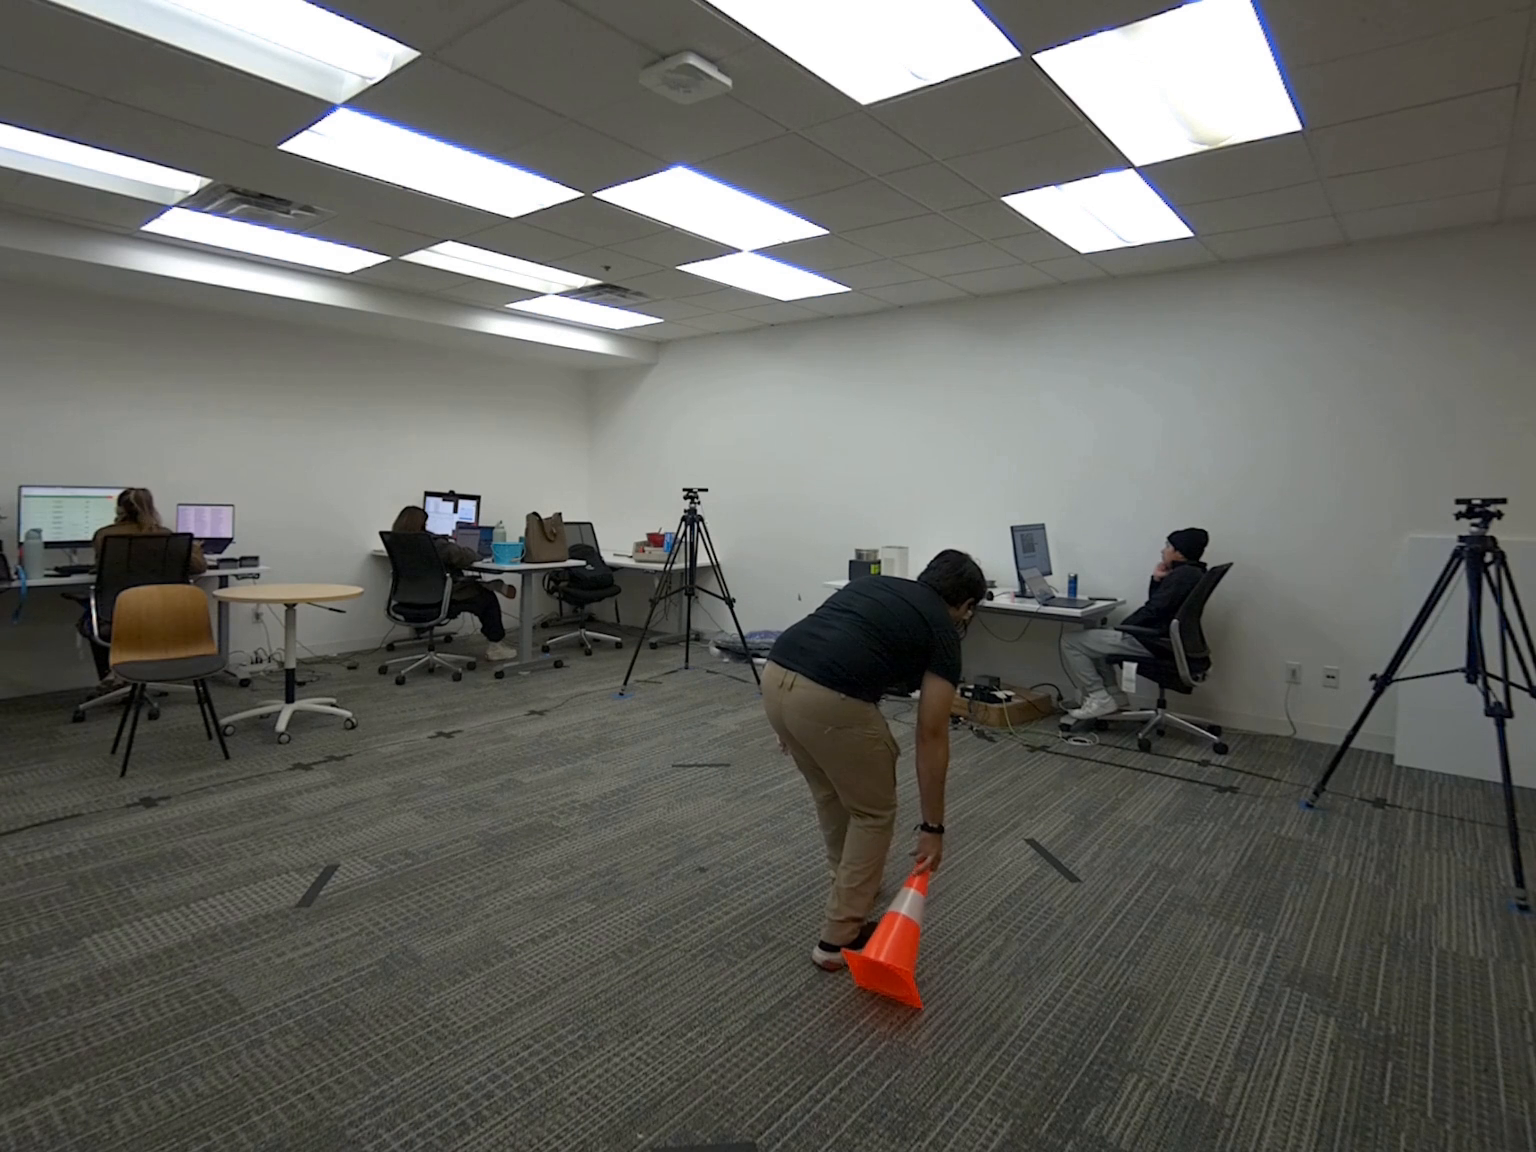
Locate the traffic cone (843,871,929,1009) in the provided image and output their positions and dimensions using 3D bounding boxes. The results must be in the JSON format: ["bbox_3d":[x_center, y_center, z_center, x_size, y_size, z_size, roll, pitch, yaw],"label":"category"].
[{"bbox_3d":[0.386,0.964,2.417,0.209,0.198,0.386,-5,37,36],"label":"traffic cone"}]
